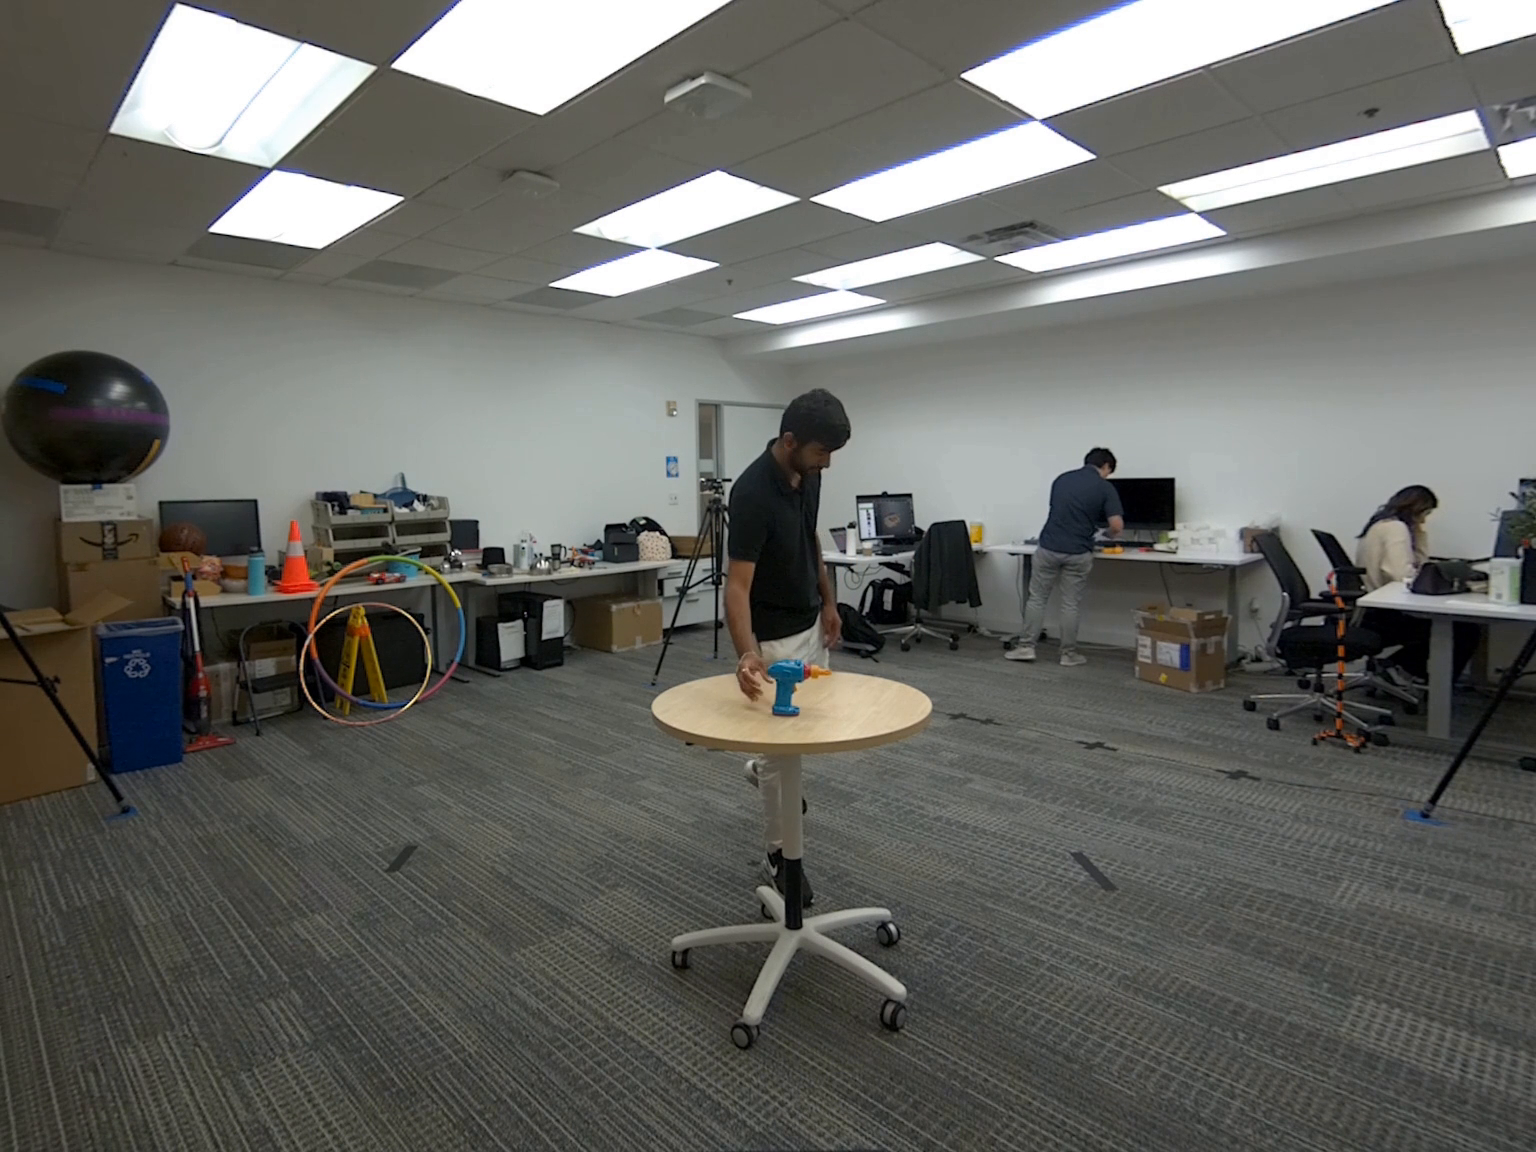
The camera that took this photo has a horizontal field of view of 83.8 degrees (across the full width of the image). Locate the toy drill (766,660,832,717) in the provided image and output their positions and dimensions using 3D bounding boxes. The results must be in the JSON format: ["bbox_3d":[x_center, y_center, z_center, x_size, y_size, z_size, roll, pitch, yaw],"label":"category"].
[{"bbox_3d":[0.089,0.290,2.219,0.171,0.146,0.061,-1,3,8],"label":"toy drill"}]
